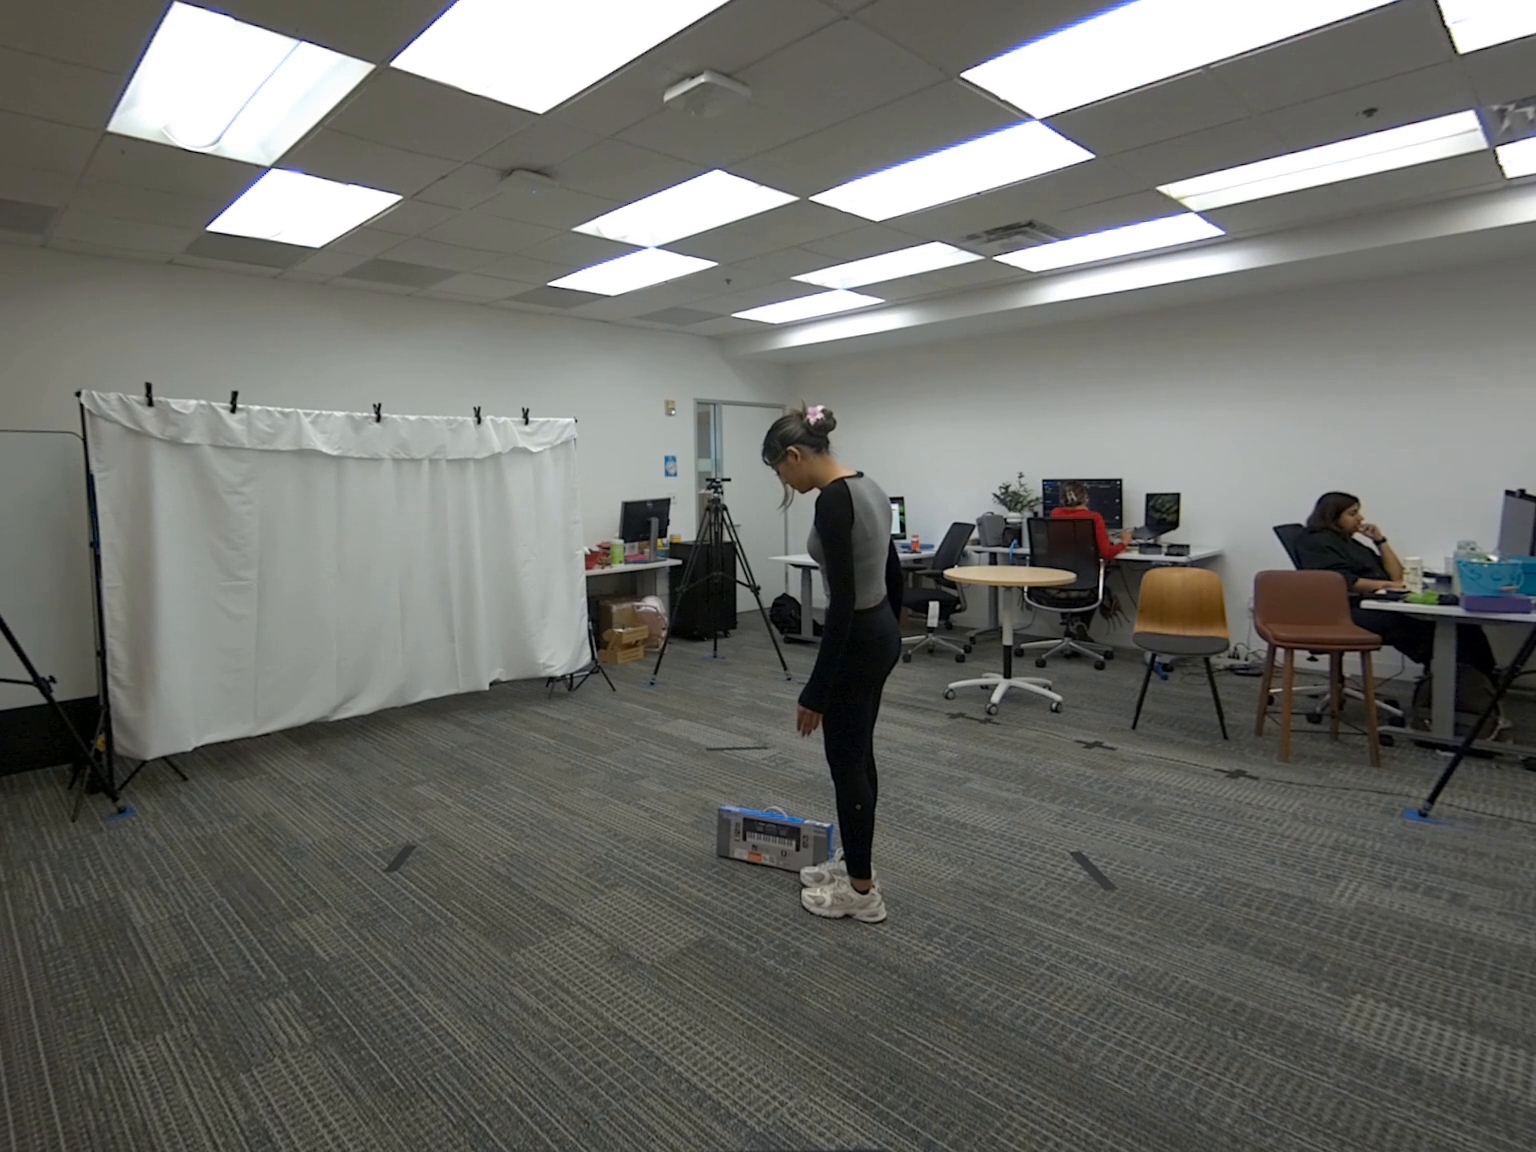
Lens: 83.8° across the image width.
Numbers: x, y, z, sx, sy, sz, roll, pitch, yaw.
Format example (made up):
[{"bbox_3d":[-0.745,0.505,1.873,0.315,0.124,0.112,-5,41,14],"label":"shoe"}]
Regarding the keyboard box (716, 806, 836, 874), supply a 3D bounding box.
[{"bbox_3d":[0.024,0.954,3.087,0.447,0.176,0.057,2,-3,26],"label":"keyboard box"}]
